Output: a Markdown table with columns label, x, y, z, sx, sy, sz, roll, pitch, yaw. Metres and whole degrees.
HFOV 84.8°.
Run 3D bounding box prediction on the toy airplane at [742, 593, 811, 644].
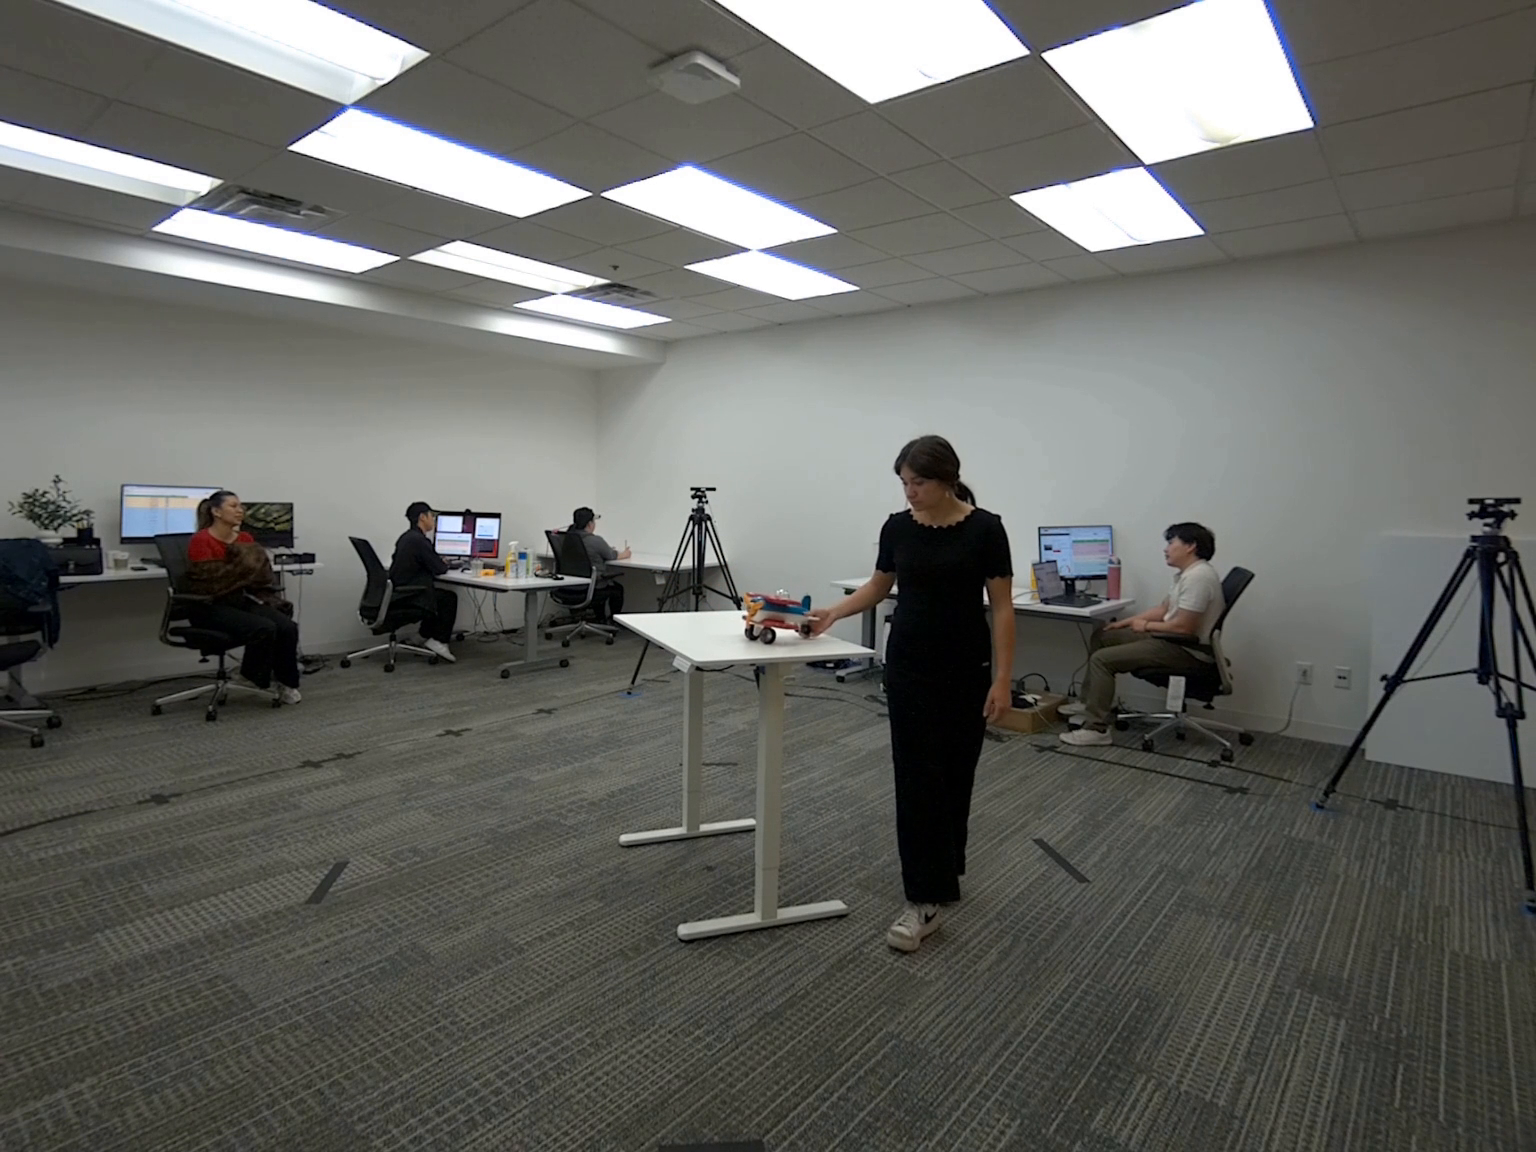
| label | x | y | z | sx | sy | sz | roll | pitch | yaw |
| --- | --- | --- | --- | --- | --- | --- | --- | --- | --- |
| toy airplane | 0.016 | 0.128 | 2.857 | 0.258 | 0.155 | 0.254 | 2 | 10 | 29 |
